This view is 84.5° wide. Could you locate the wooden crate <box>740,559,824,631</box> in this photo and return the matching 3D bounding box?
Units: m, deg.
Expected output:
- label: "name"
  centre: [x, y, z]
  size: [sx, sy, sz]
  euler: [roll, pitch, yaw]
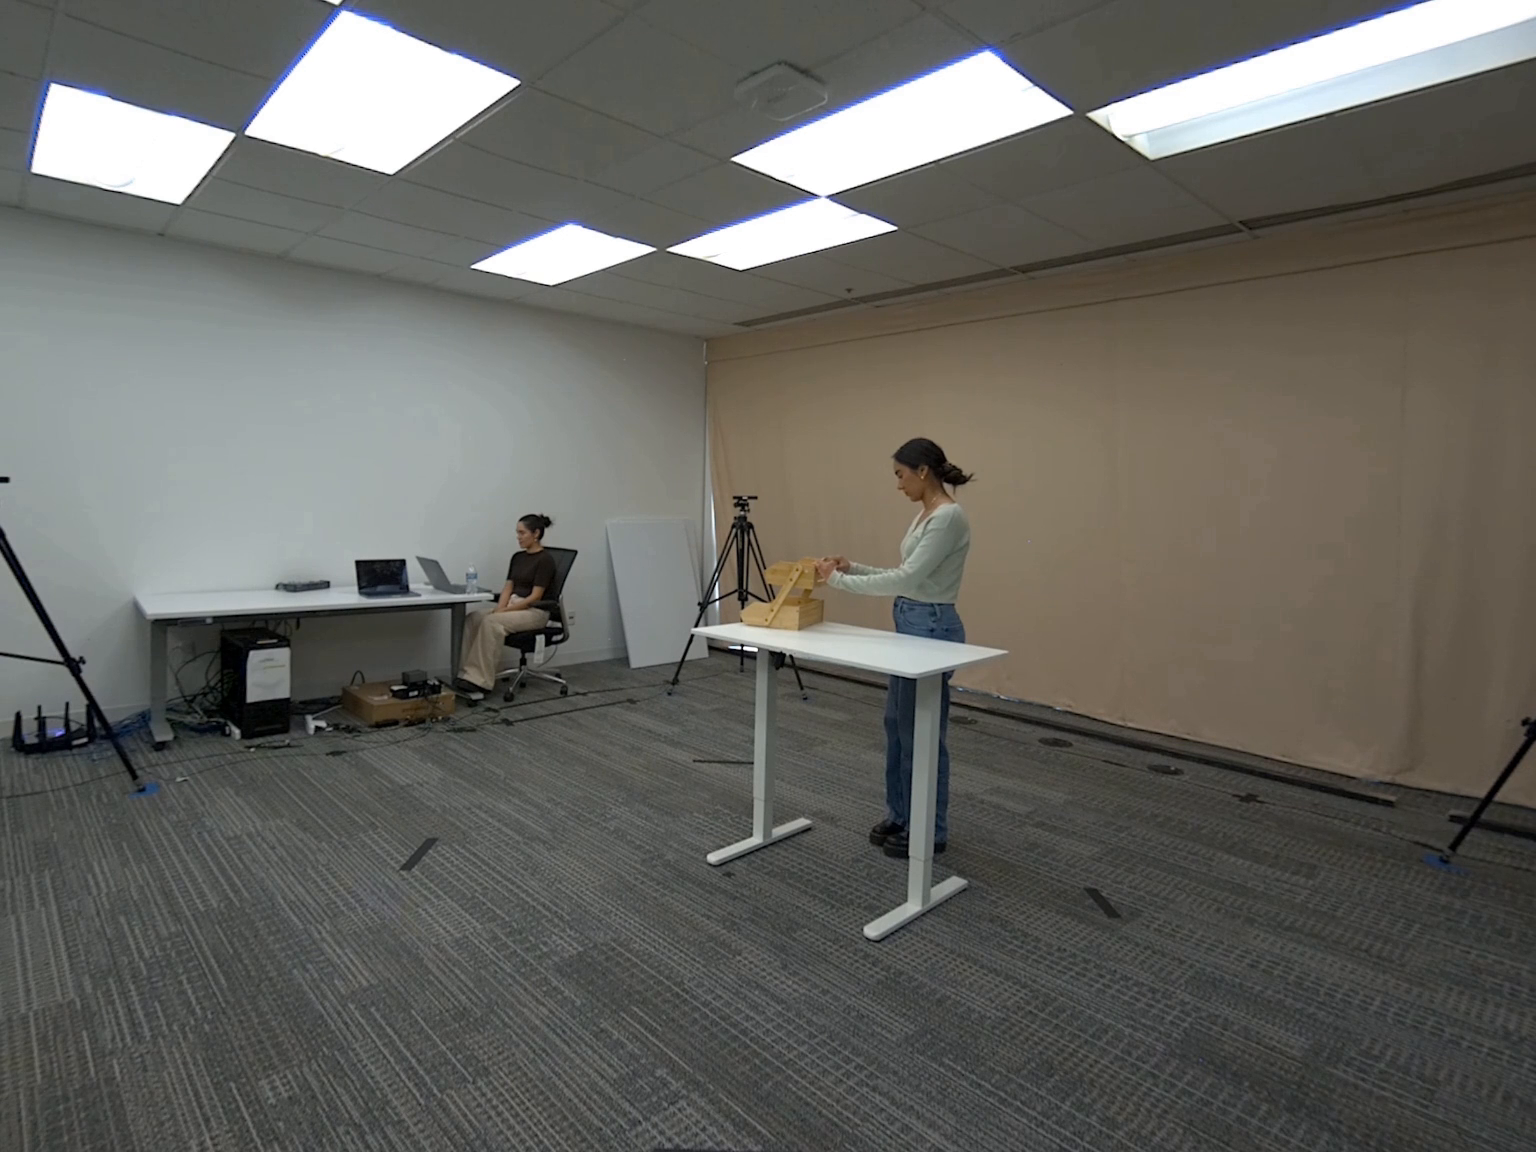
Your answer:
- label: "wooden crate"
  centre: [0.084, 0.057, 3.414]
  size: [0.308, 0.272, 0.319]
  euler: [5, 5, 23]
